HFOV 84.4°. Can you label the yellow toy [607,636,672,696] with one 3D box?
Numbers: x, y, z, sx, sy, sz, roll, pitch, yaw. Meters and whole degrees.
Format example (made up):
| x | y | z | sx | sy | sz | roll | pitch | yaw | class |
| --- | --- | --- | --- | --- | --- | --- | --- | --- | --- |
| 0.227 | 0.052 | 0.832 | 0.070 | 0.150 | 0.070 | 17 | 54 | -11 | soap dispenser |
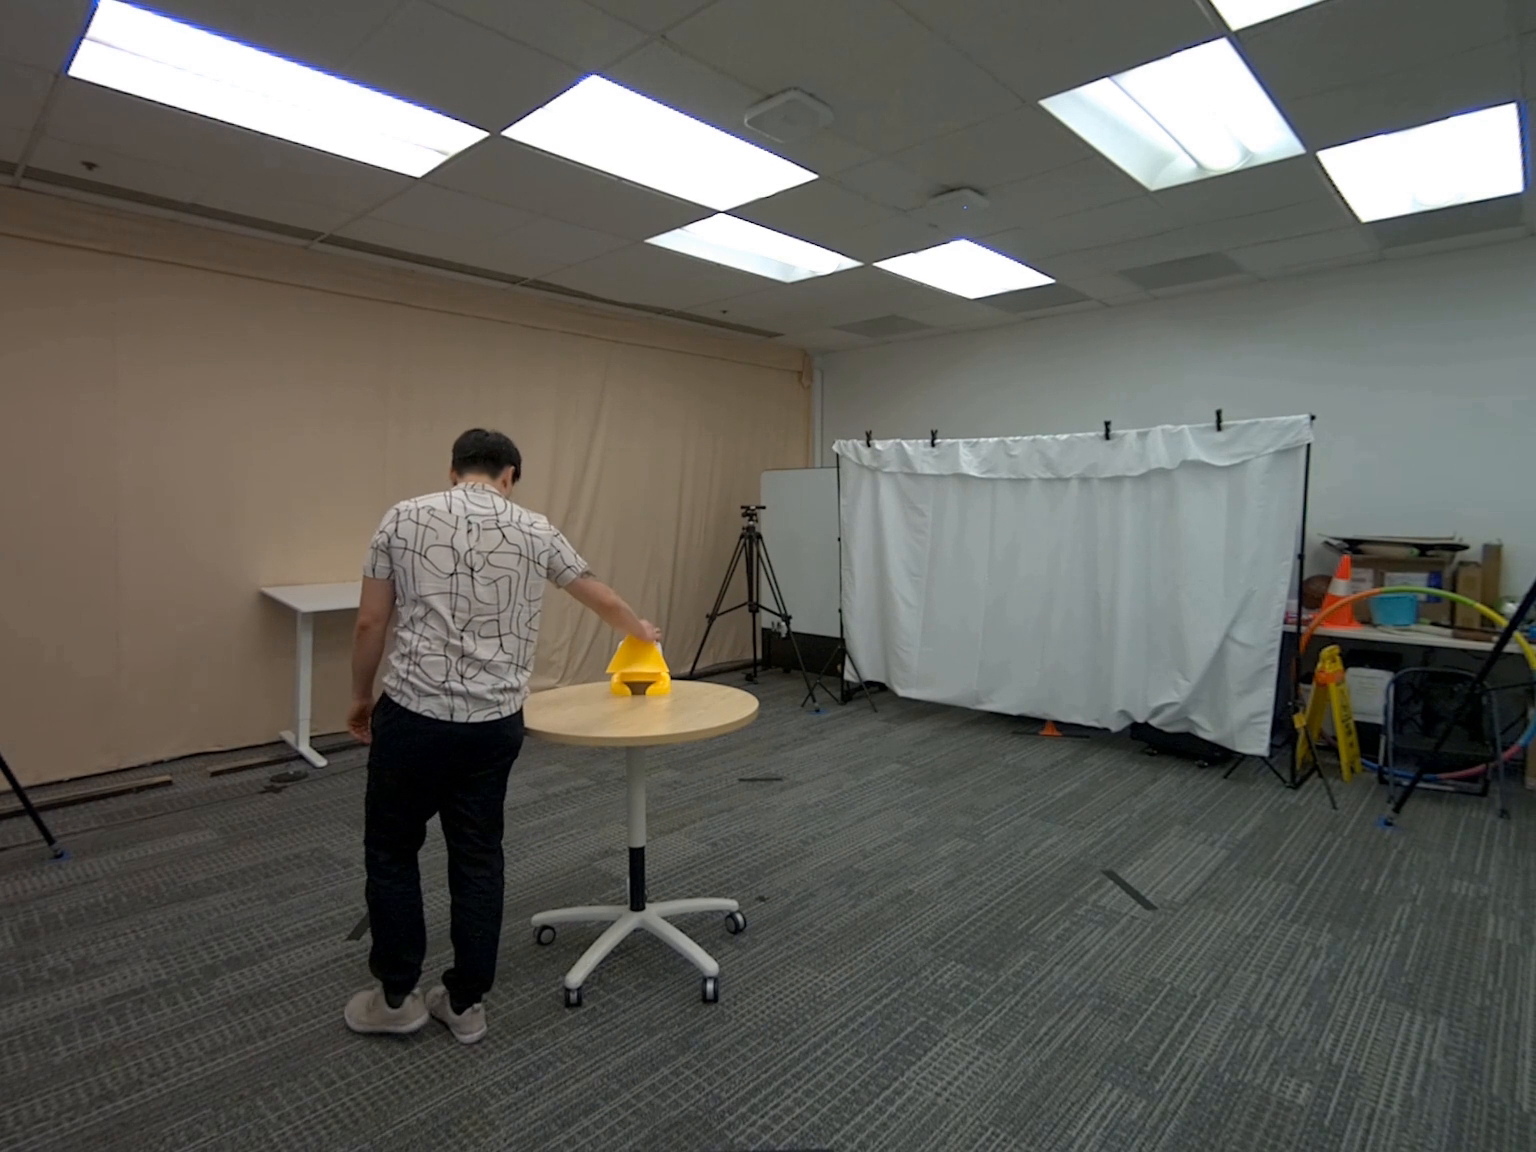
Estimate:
| x | y | z | sx | sy | sz | roll | pitch | yaw | class |
| --- | --- | --- | --- | --- | --- | --- | --- | --- | --- |
| -0.425 | 0.269 | 2.789 | 0.205 | 0.230 | 0.193 | 0 | 5 | -1 | yellow toy |
